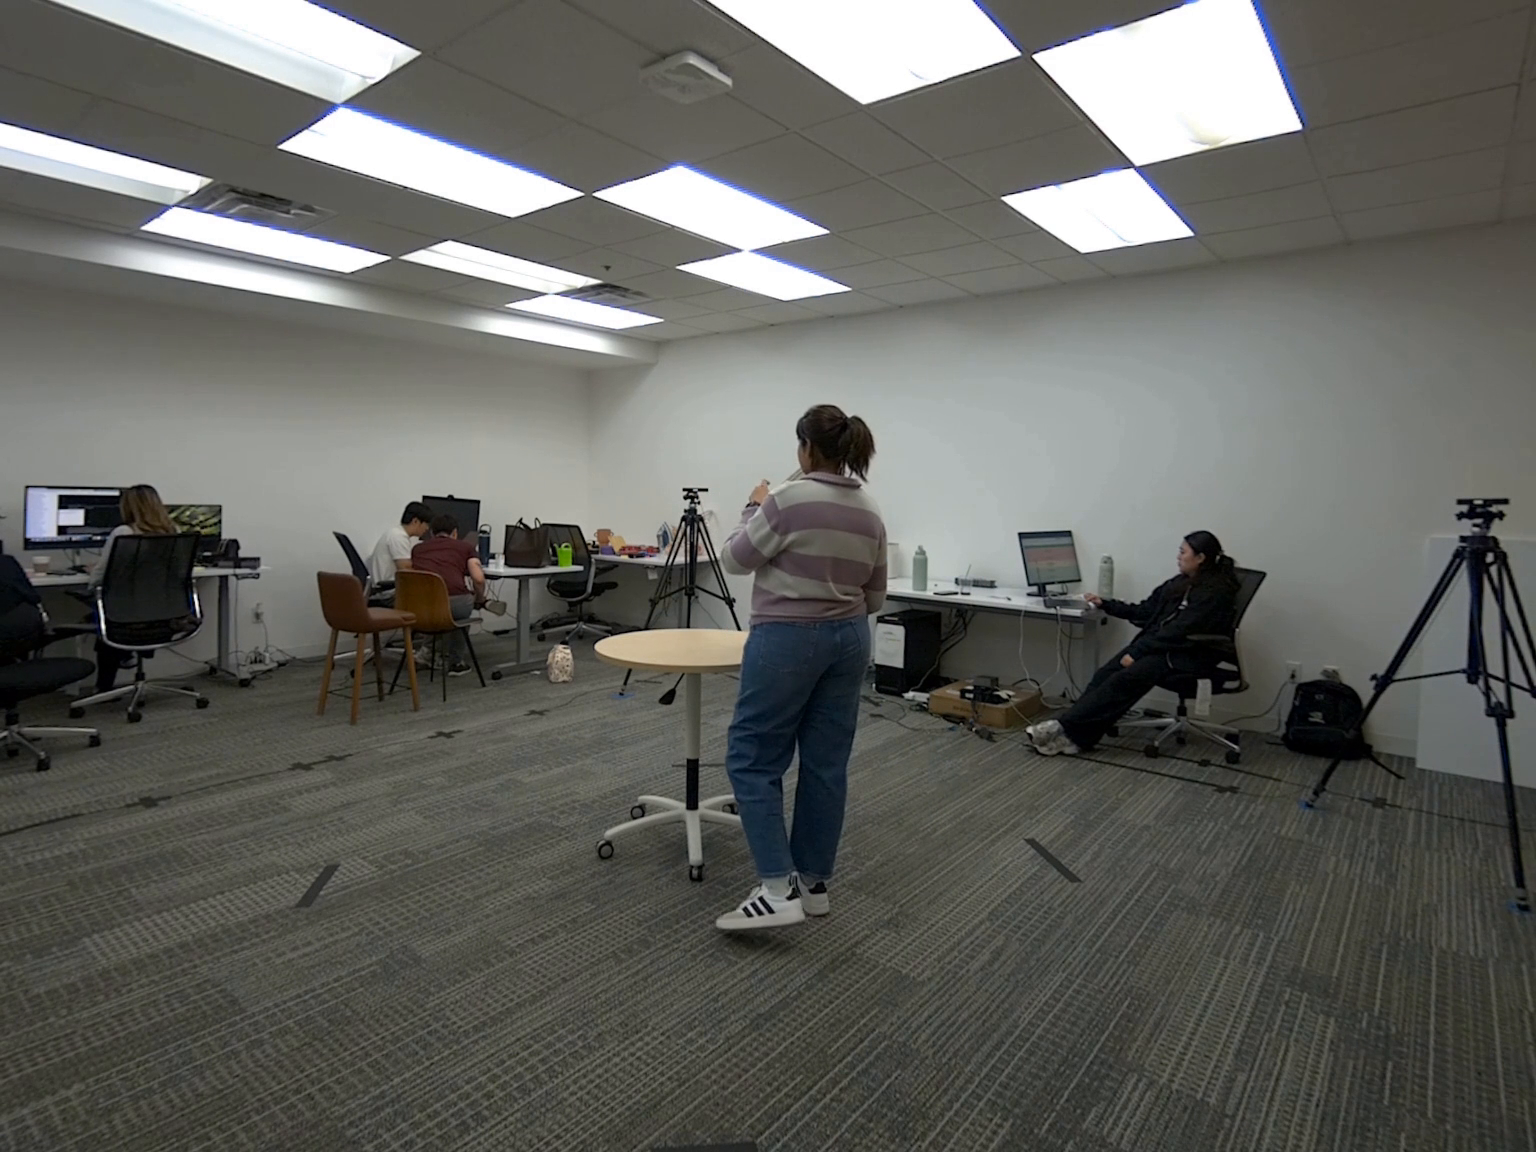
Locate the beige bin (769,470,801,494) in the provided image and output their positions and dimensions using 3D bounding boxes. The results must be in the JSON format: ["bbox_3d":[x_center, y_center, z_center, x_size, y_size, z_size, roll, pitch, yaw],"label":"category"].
[{"bbox_3d":[0.091,-0.121,3.112,0.376,0.406,0.197,-43,46,-21],"label":"beige bin"}]
